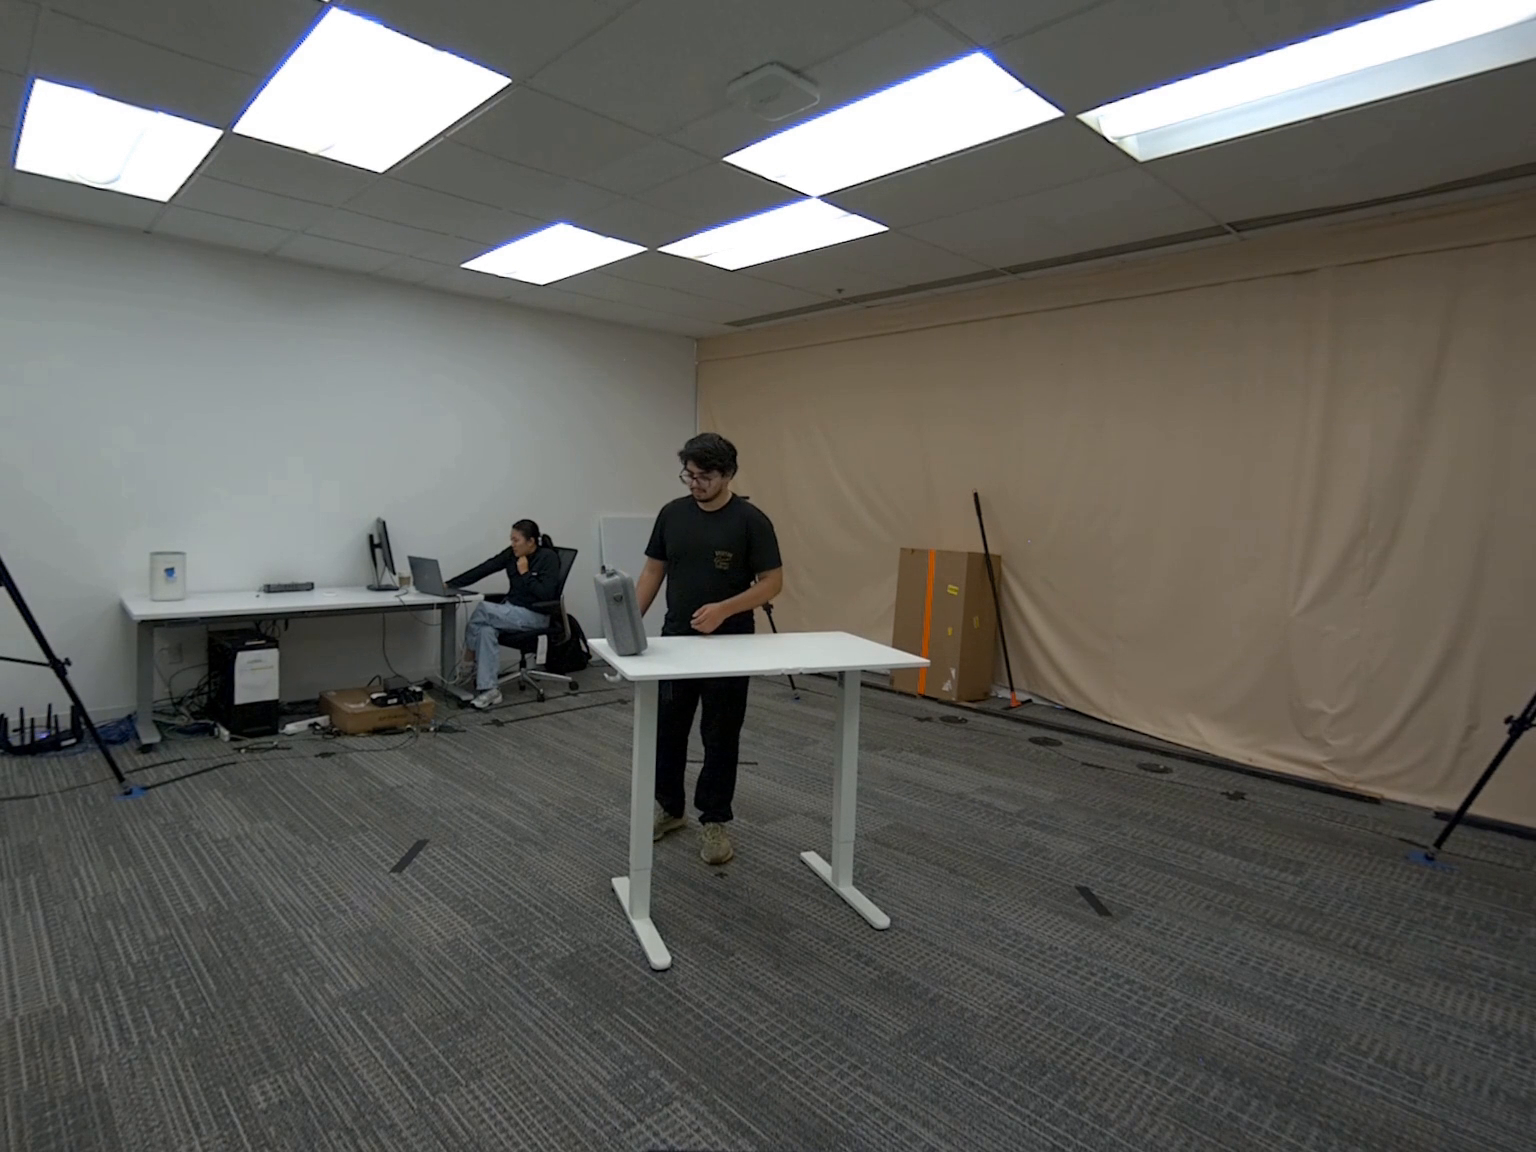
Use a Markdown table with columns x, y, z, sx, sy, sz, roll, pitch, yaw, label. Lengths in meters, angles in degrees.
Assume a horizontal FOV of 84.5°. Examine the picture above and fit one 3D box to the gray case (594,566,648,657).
| x | y | z | sx | sy | sz | roll | pitch | yaw | label |
| --- | --- | --- | --- | --- | --- | --- | --- | --- | --- |
| -0.497 | 0.119 | 2.731 | 0.103 | 0.259 | 0.261 | -10 | 8 | -17 | gray case |
